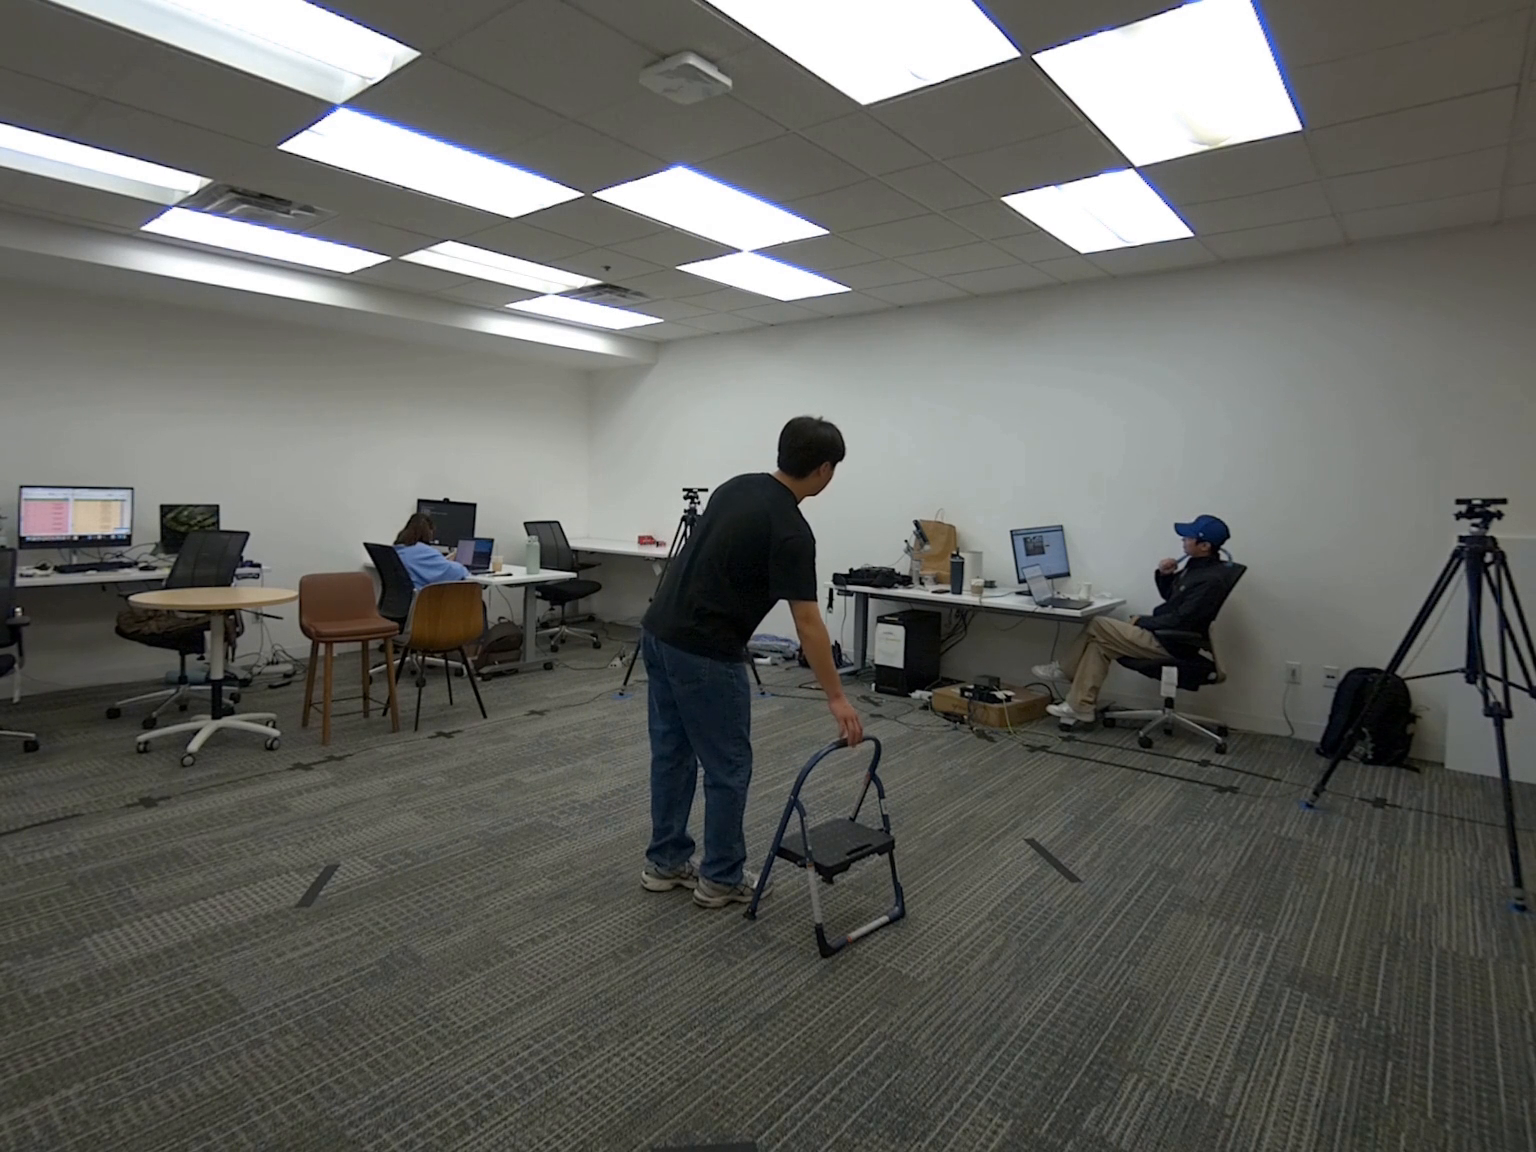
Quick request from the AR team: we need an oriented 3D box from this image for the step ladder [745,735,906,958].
[{"bbox_3d":[0.193,0.808,2.770,0.417,0.604,0.361,-2,5,-45],"label":"step ladder"}]
